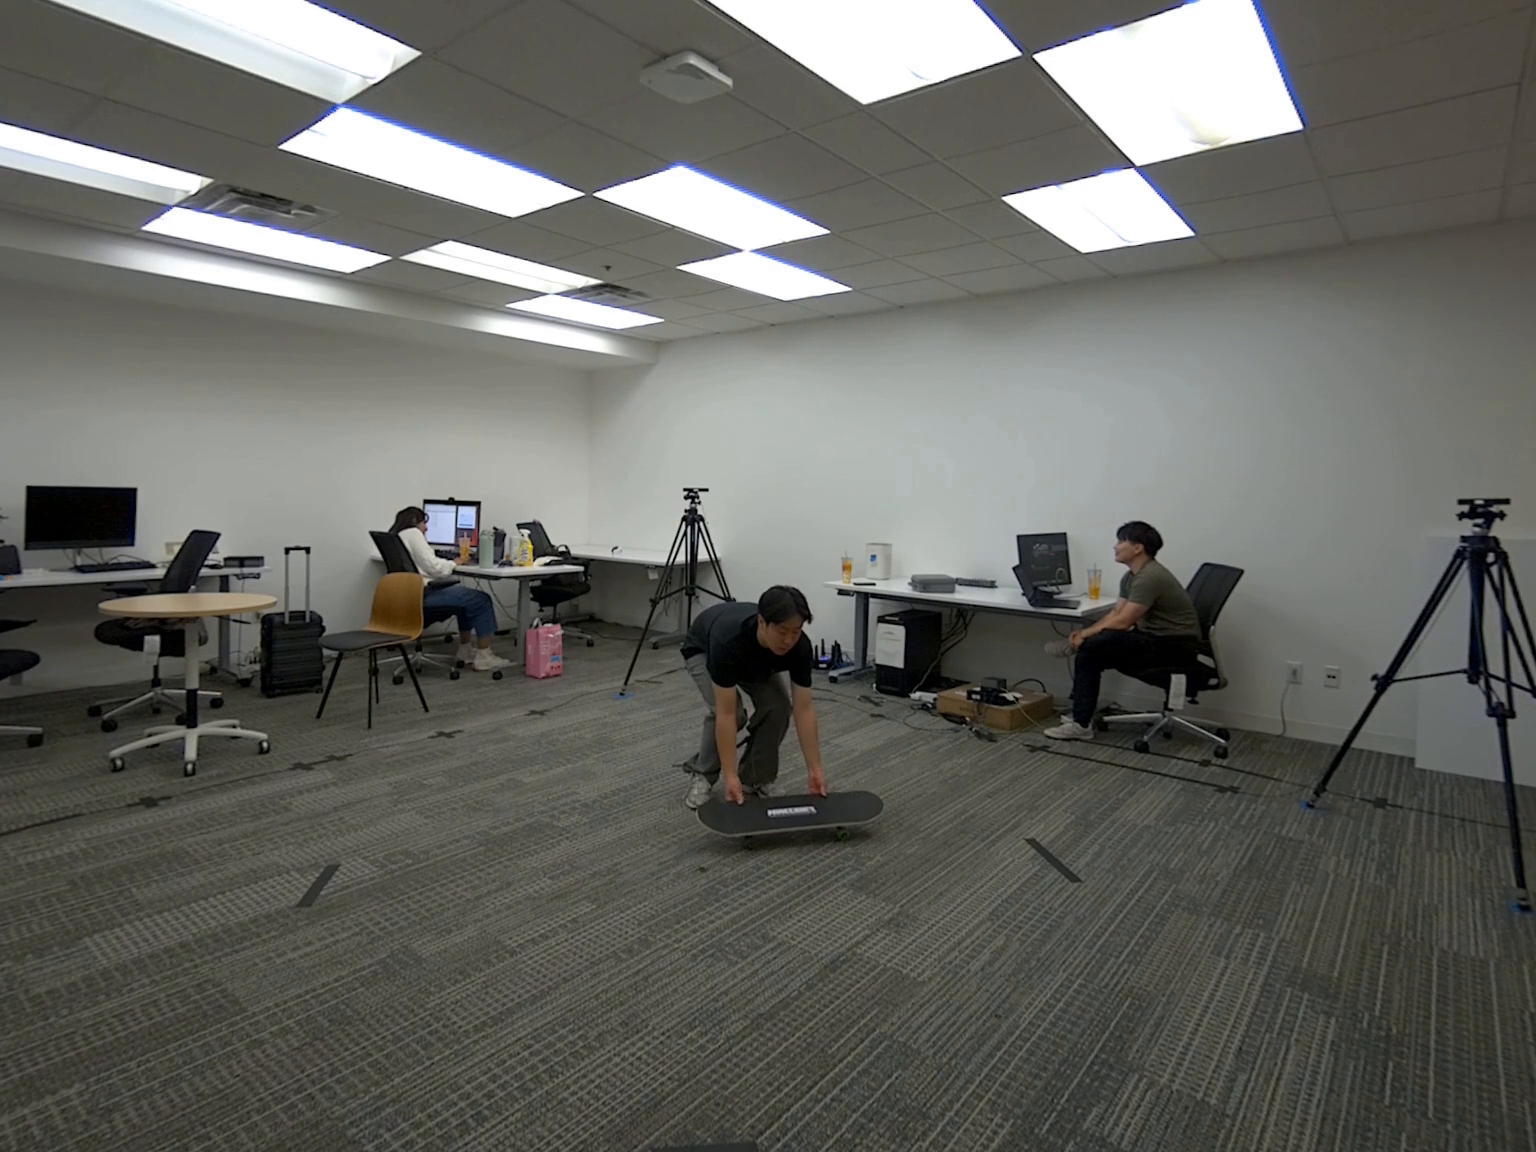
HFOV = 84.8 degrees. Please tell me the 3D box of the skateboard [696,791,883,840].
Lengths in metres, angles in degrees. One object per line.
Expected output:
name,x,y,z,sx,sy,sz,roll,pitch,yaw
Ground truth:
skateboard,0.076,0.949,3.398,0.772,0.108,0.200,-1,20,-17
